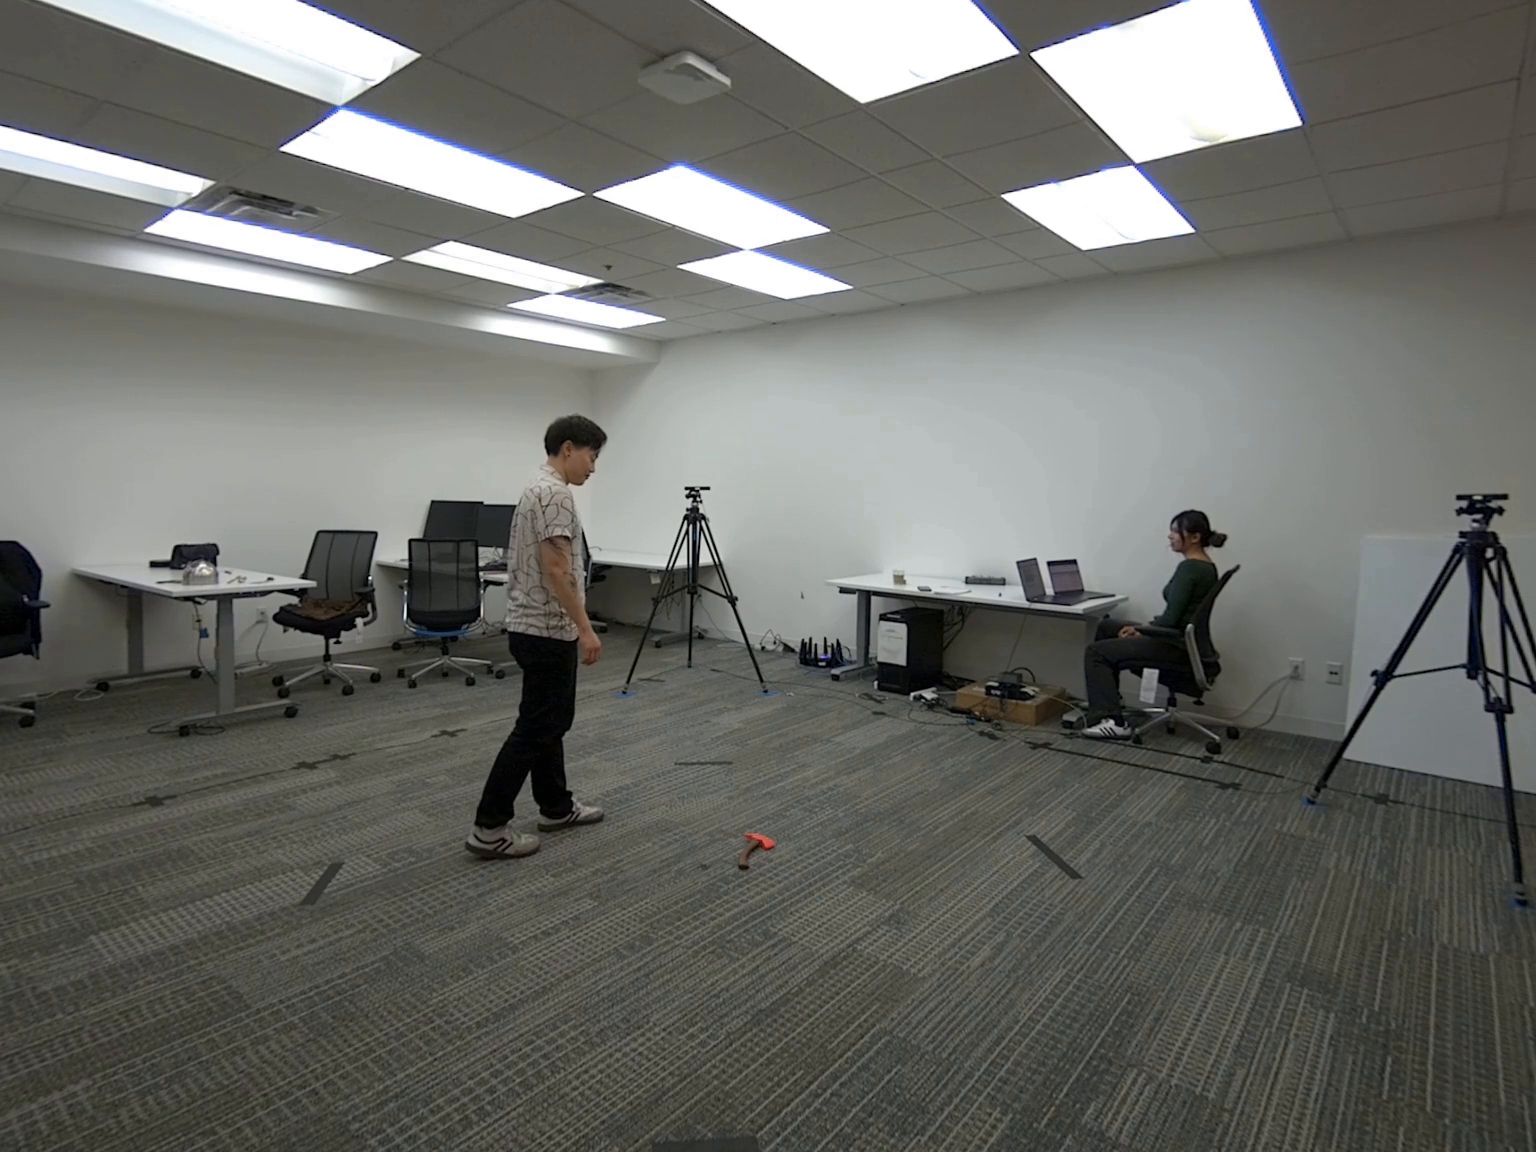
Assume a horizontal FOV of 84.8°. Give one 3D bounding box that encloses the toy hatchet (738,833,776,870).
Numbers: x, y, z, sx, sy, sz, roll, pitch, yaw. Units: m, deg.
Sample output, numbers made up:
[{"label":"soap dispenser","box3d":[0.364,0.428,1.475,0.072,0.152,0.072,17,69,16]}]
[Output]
[{"label":"toy hatchet","box3d":[-0.044,1.048,3.226,0.132,0.029,0.270,5,9,3]}]
